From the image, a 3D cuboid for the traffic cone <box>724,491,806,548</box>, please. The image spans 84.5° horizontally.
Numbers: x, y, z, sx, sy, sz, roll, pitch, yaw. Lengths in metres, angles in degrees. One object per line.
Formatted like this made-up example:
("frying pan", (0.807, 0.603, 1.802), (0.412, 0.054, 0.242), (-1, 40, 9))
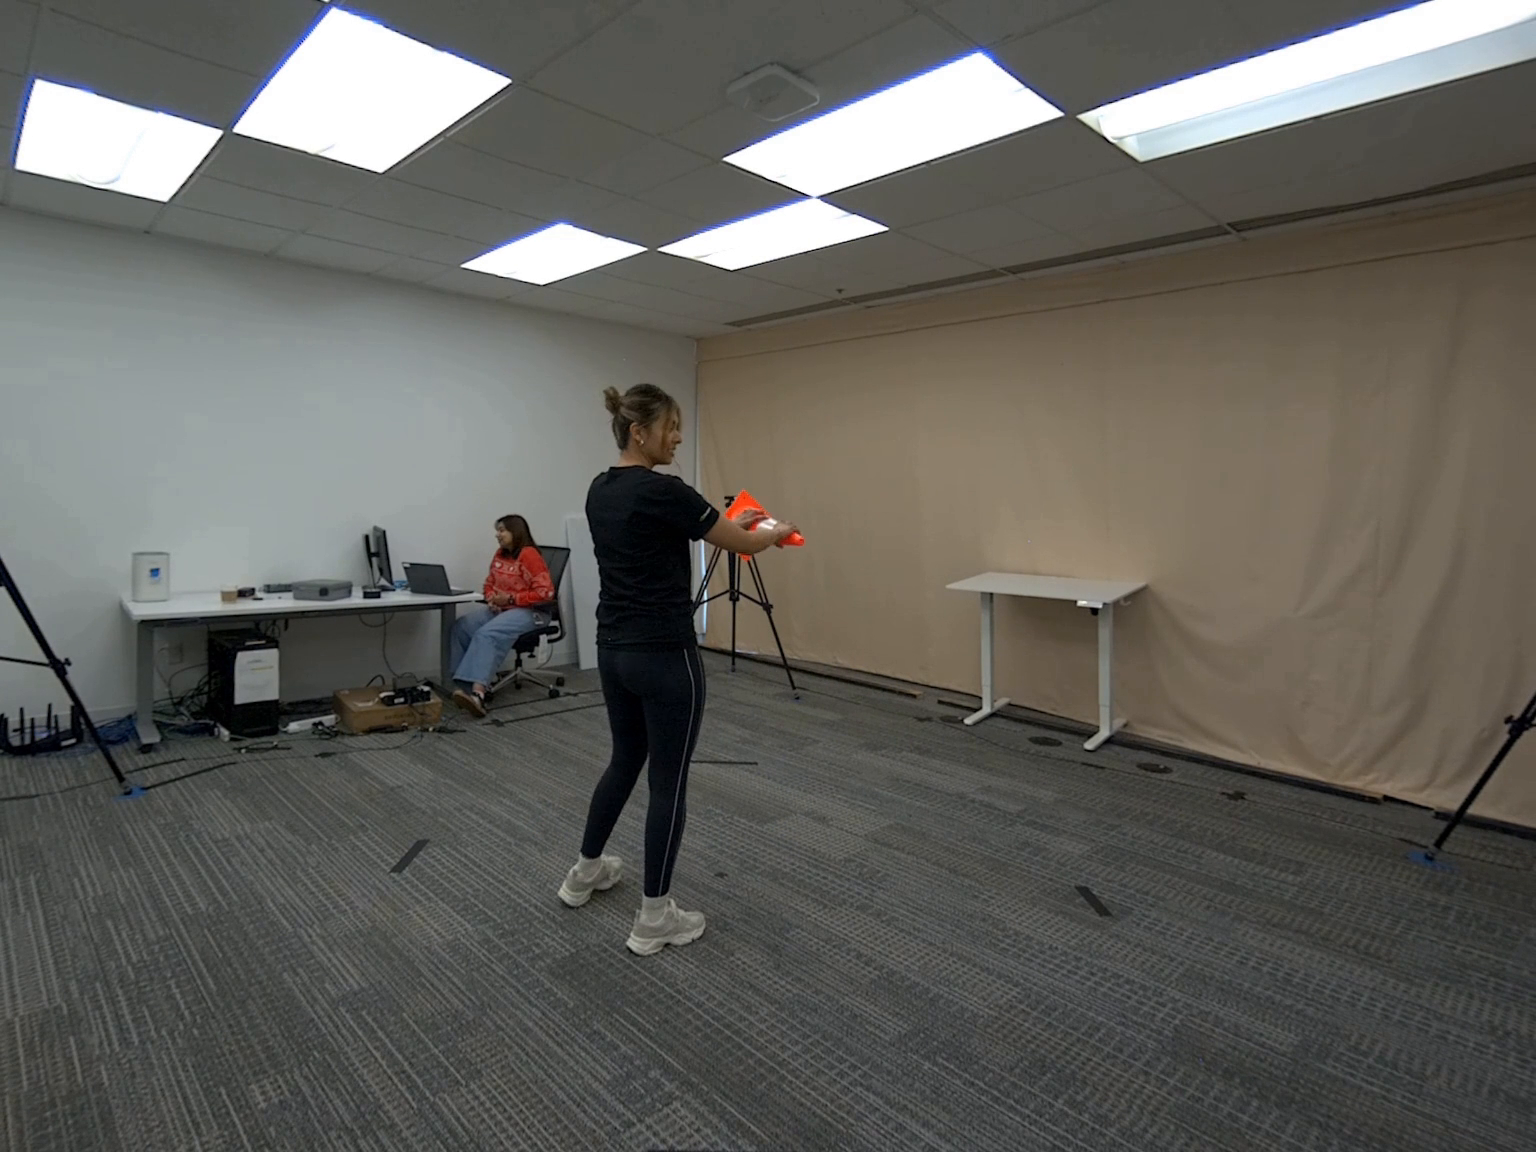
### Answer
("traffic cone", (-0.002, -0.149, 2.995), (0.198, 0.205, 0.393), (43, -11, -28))
